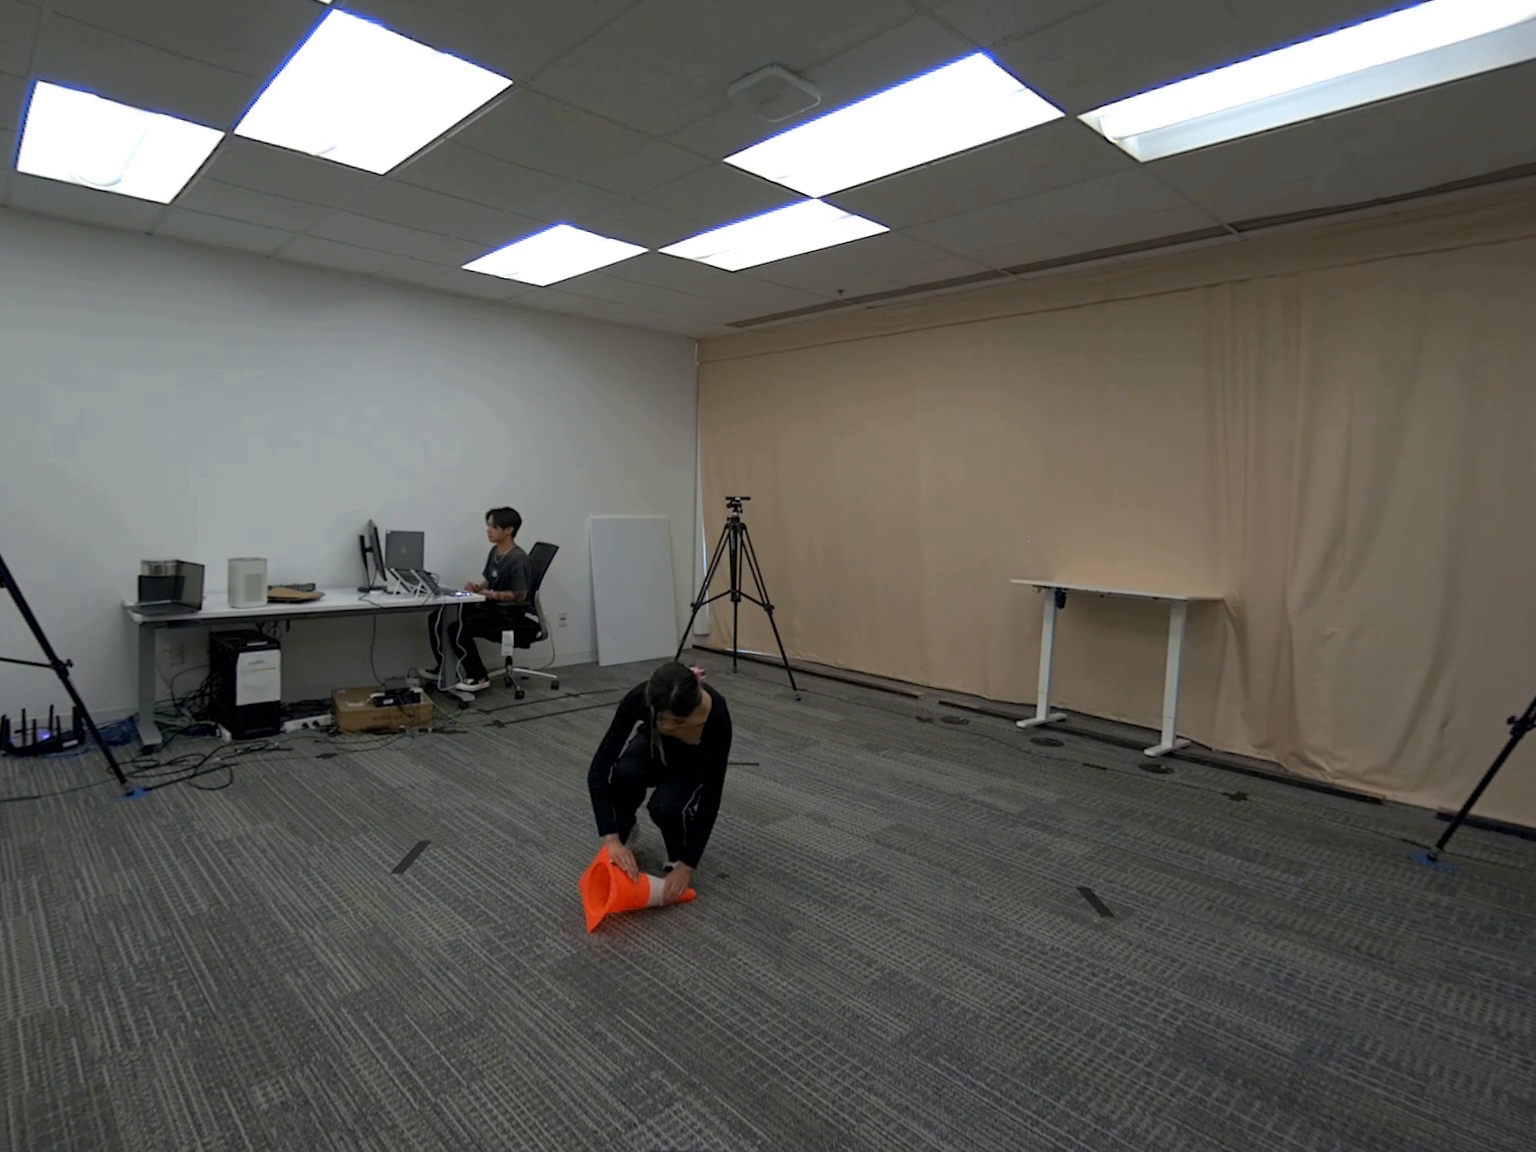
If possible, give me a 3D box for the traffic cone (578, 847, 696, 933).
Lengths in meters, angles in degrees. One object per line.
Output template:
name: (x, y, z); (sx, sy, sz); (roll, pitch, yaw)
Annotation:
traffic cone: (-0.417, 1.068, 2.815); (0.373, 0.204, 0.209); (20, 28, -33)
